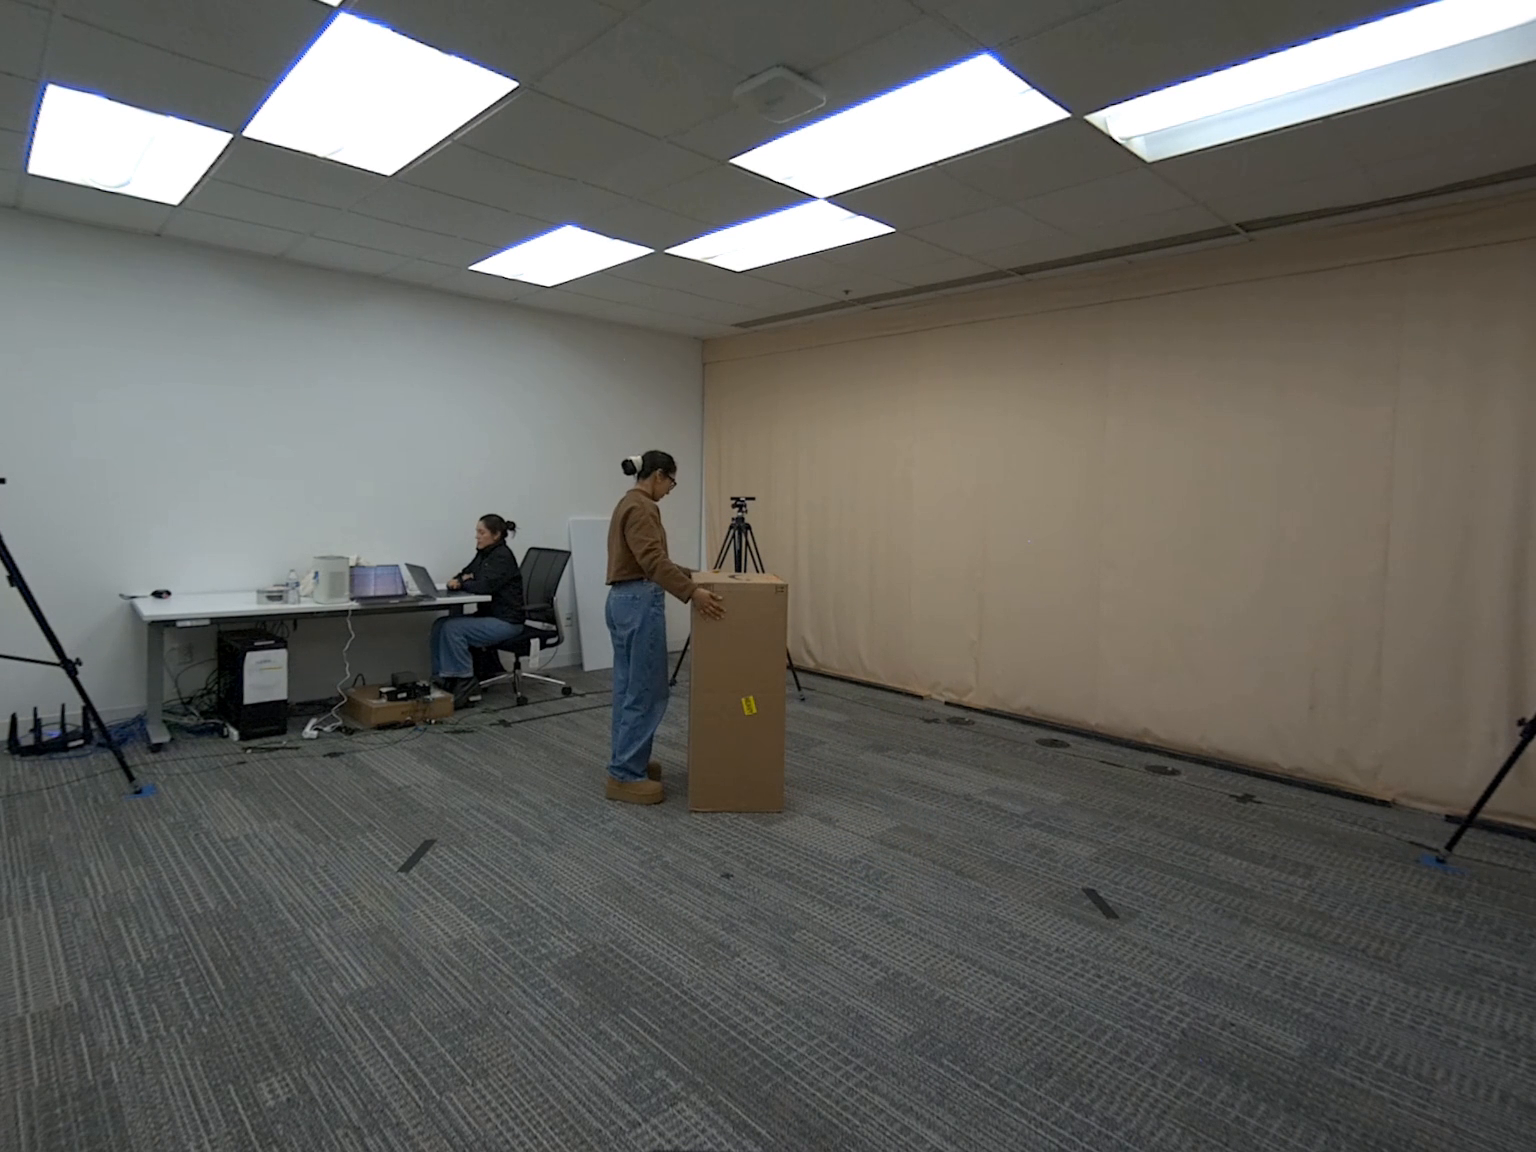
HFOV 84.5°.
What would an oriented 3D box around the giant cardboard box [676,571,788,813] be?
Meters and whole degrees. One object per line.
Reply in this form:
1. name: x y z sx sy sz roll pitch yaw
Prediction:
1. giant cardboard box: -0.164 0.525 4.015 0.424 1.025 0.580 1 1 -6
